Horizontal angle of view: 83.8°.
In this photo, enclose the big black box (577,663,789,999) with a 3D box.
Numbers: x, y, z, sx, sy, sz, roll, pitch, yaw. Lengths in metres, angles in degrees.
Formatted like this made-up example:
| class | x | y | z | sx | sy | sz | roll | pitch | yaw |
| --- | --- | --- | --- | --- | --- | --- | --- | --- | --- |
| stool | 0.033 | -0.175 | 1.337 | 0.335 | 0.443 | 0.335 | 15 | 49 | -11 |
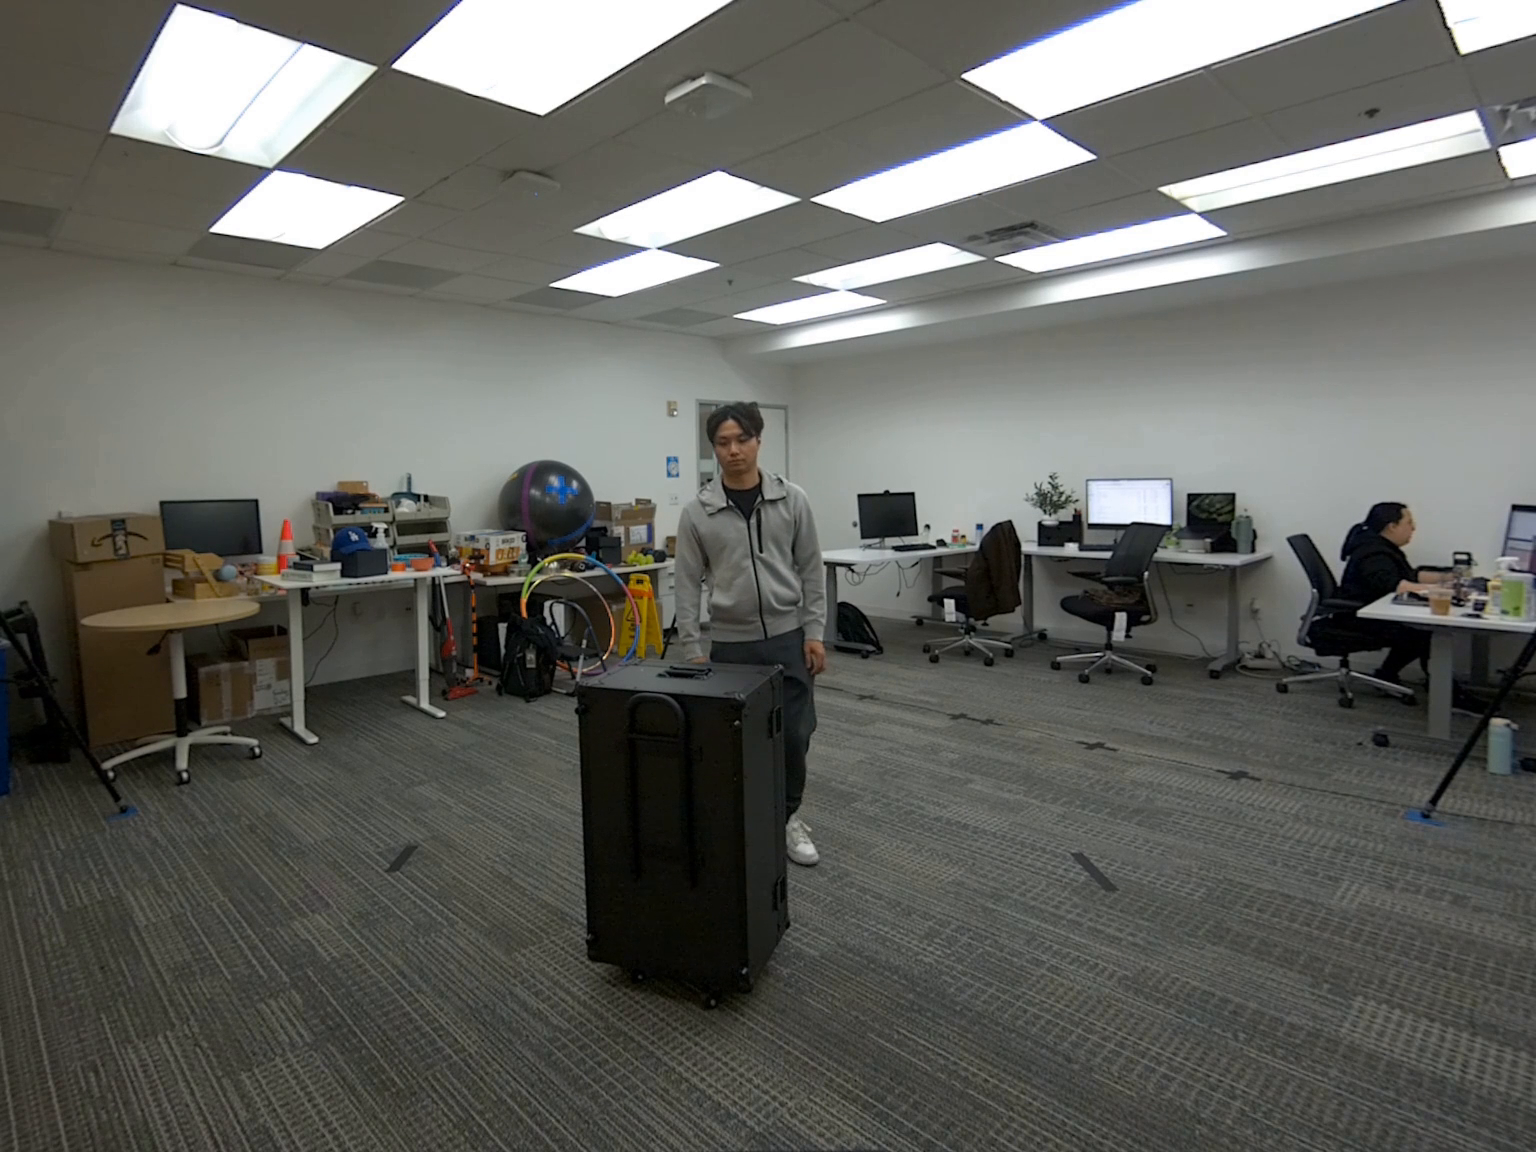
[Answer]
| class | x | y | z | sx | sy | sz | roll | pitch | yaw |
| --- | --- | --- | --- | --- | --- | --- | --- | --- | --- |
| big black box | -0.229 | 0.702 | 2.420 | 0.532 | 0.858 | 0.390 | 0 | 5 | 21 |
